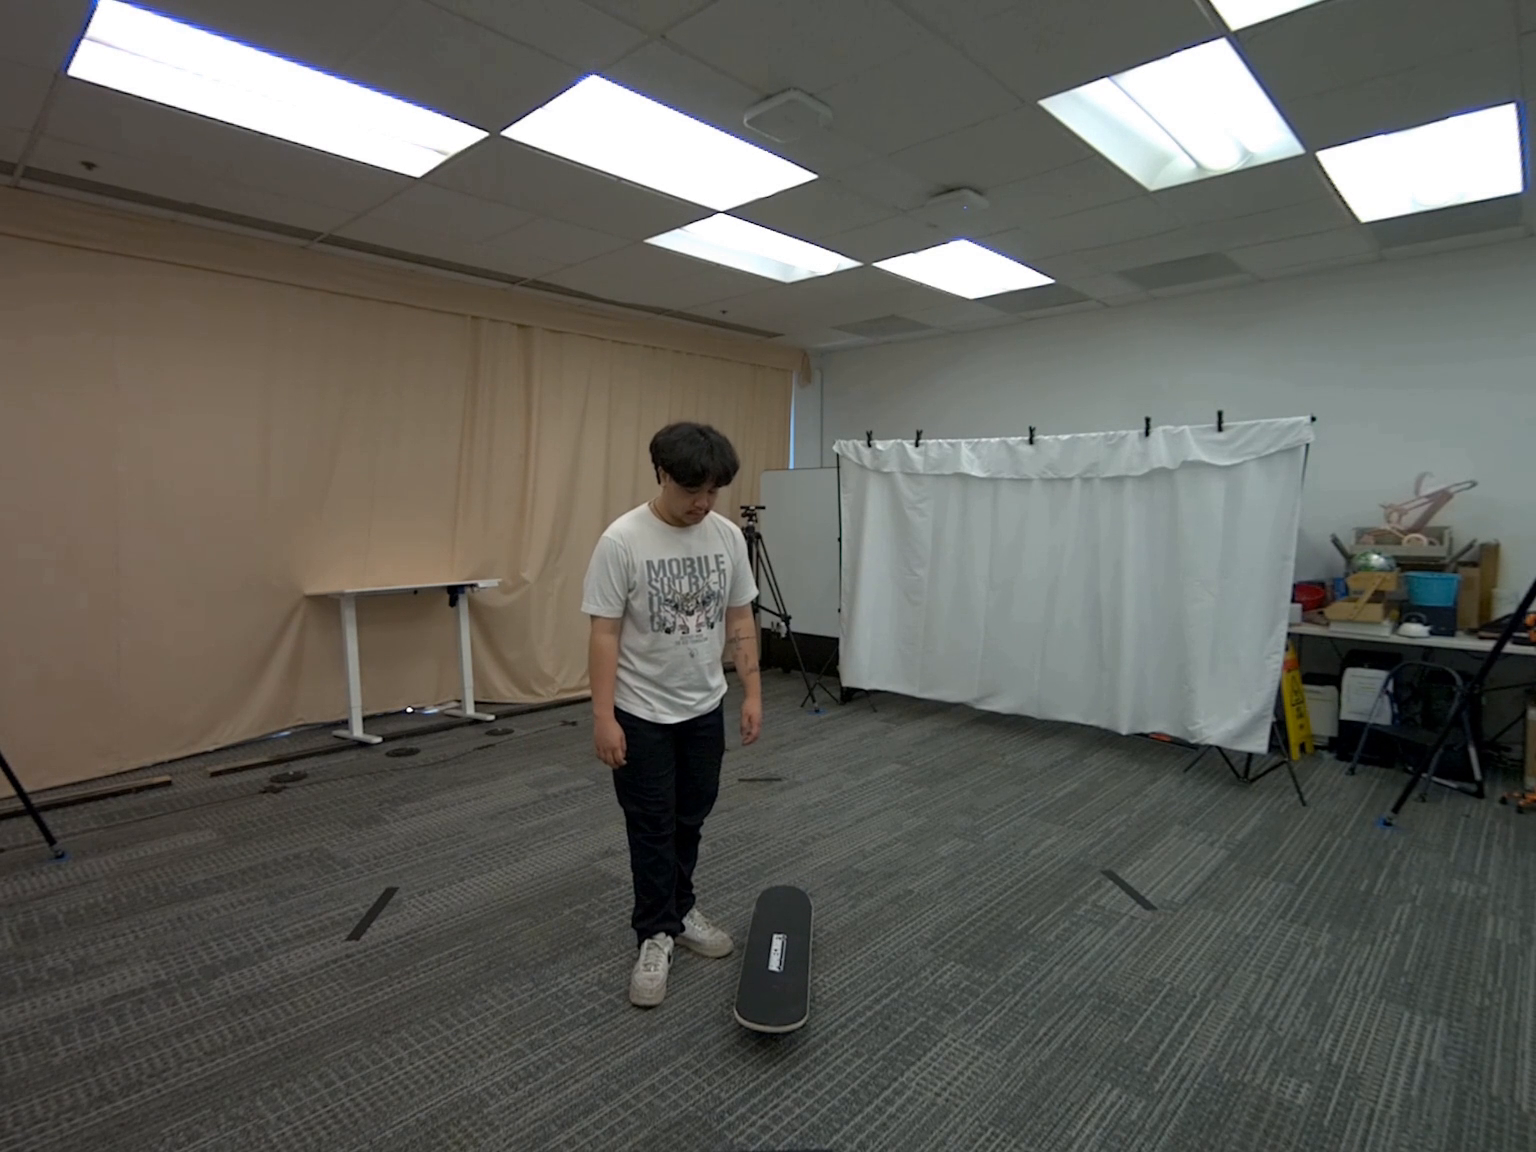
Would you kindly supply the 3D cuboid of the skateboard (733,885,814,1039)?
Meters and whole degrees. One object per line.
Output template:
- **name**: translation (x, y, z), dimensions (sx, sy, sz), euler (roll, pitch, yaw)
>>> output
- **skateboard**: translation (0.032, 1.128, 2.468), dimensions (0.195, 0.110, 0.781), euler (1, 5, 5)
